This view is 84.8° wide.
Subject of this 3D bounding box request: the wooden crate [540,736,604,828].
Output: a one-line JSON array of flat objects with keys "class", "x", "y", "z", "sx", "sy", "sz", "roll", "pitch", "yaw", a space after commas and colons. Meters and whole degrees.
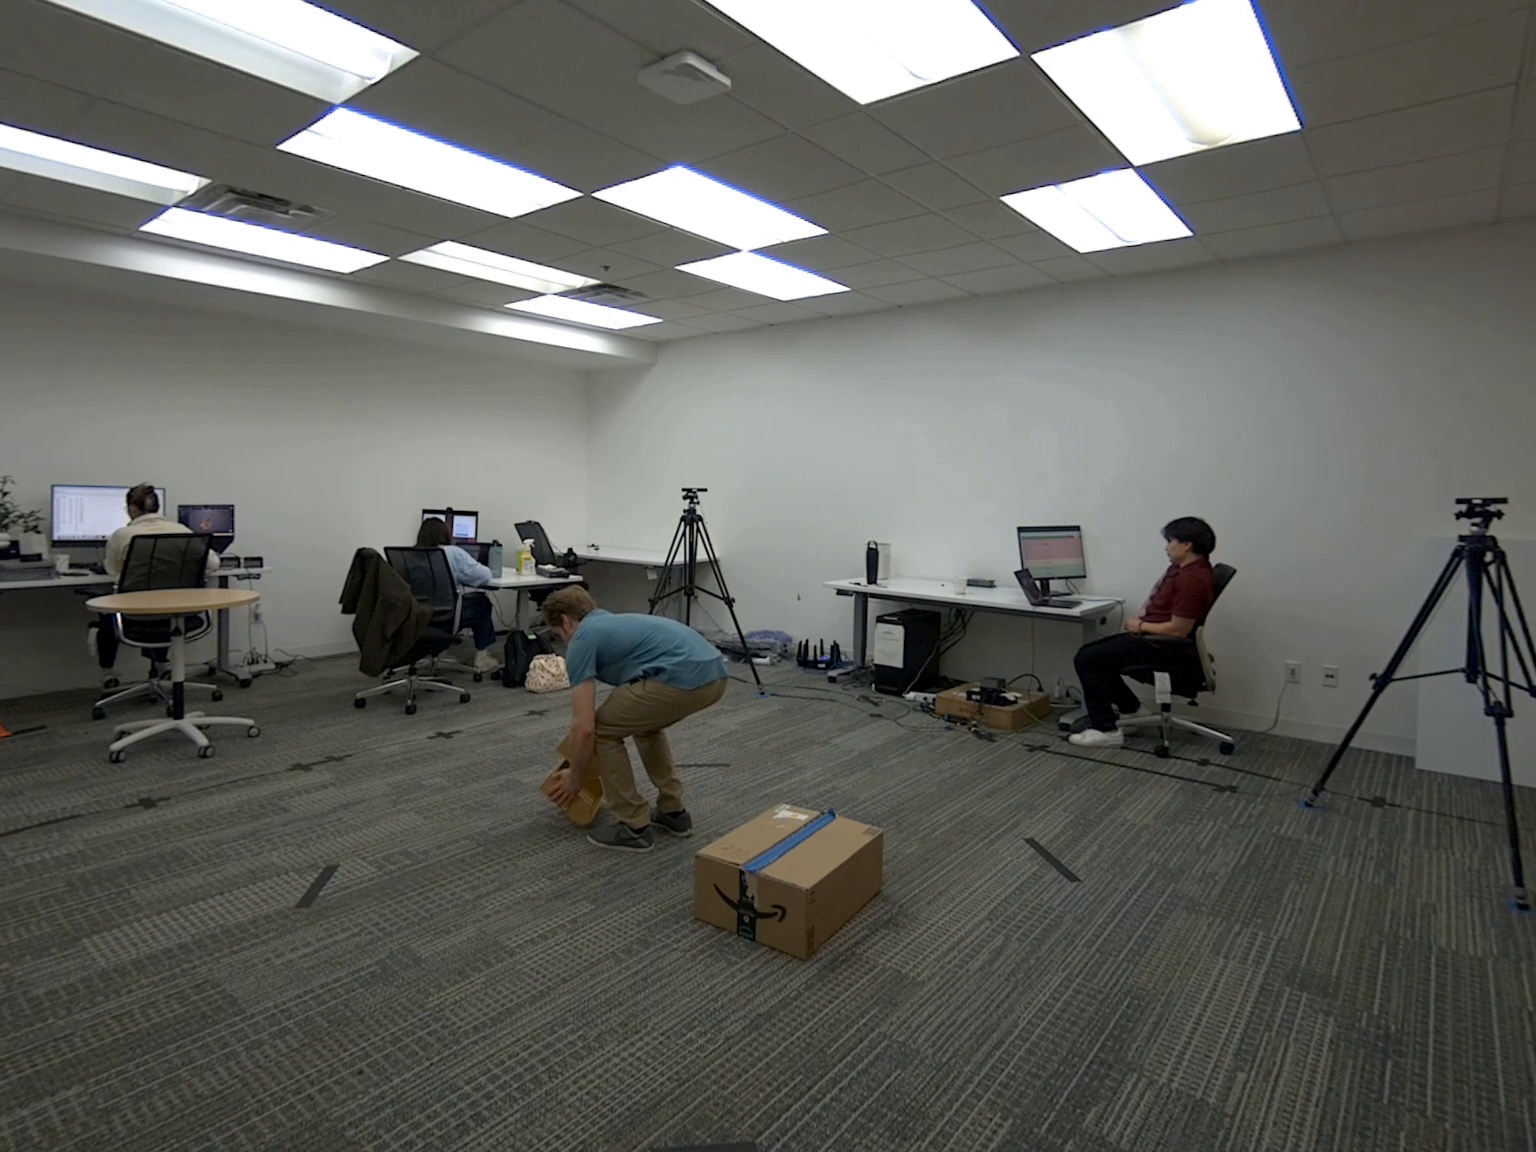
[{"class": "wooden crate", "x": -0.781, "y": 0.811, "z": 3.579, "sx": 0.302, "sy": 0.273, "sz": 0.325, "roll": 41, "pitch": 4, "yaw": -1}]
